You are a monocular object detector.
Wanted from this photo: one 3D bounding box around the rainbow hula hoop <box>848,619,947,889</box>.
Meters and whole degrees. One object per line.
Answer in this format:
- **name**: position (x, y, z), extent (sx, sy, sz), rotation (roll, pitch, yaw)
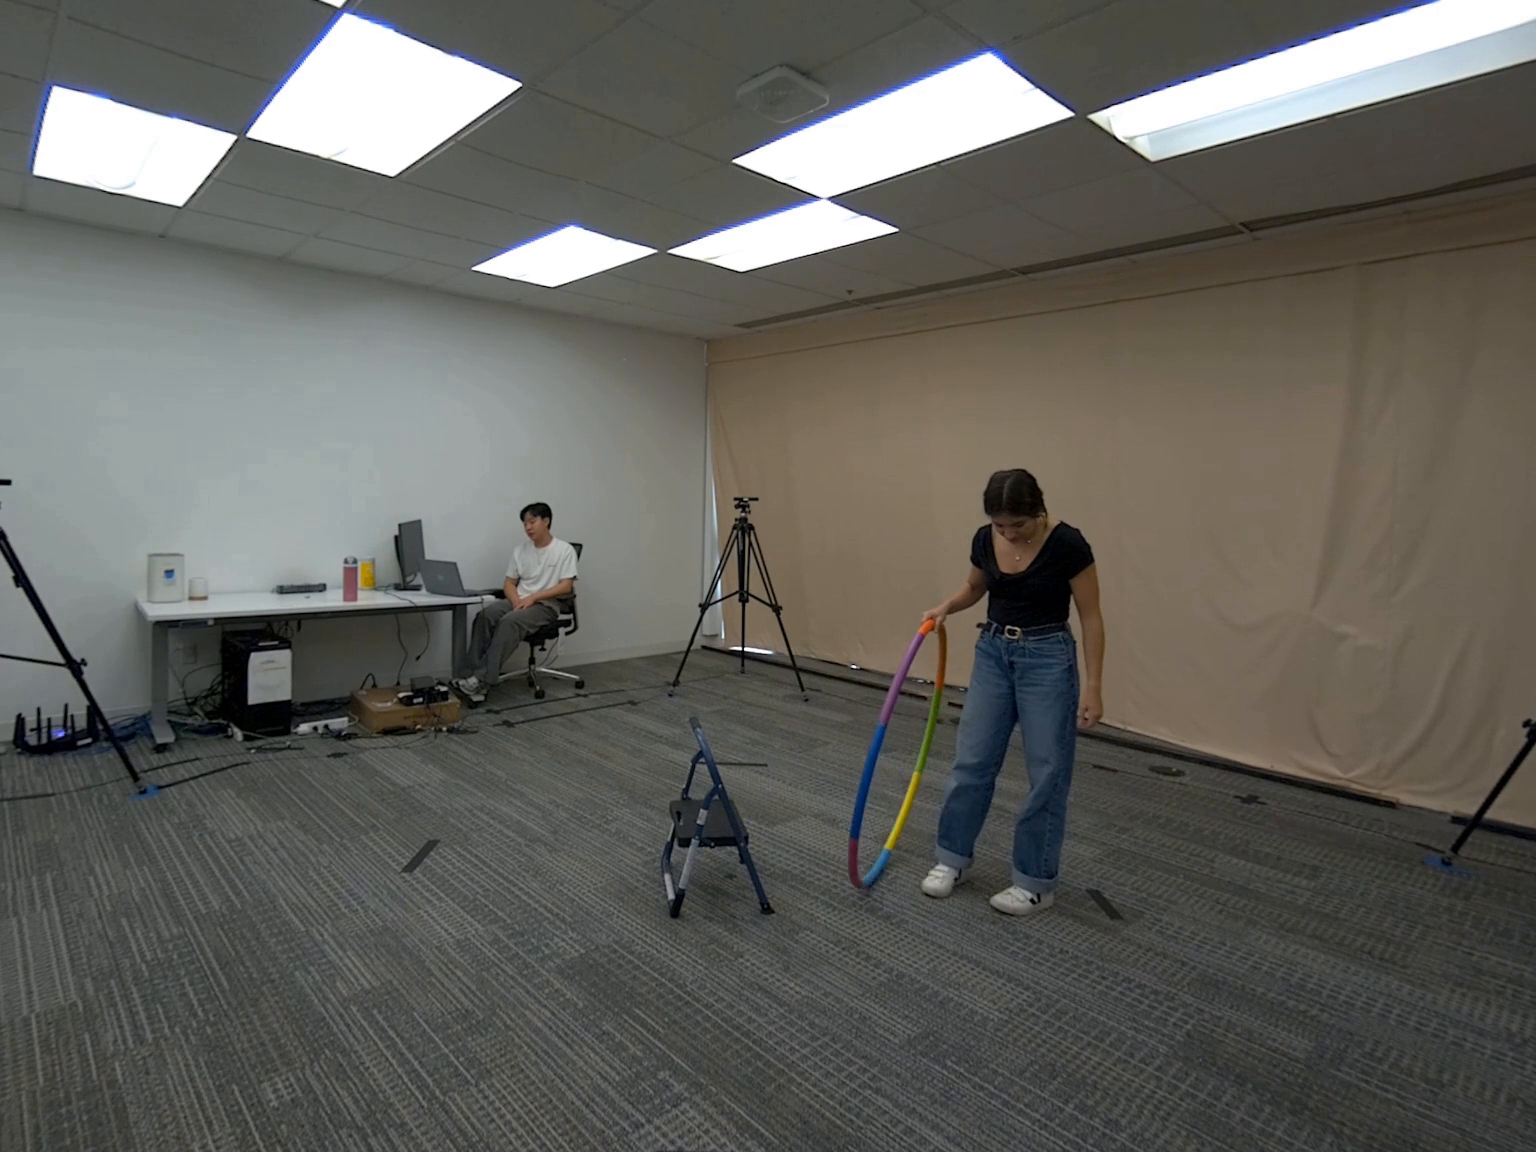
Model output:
- **rainbow hula hoop**: position (0.478, 0.638, 3.040), extent (0.036, 0.974, 0.963), rotation (14, 9, 22)
